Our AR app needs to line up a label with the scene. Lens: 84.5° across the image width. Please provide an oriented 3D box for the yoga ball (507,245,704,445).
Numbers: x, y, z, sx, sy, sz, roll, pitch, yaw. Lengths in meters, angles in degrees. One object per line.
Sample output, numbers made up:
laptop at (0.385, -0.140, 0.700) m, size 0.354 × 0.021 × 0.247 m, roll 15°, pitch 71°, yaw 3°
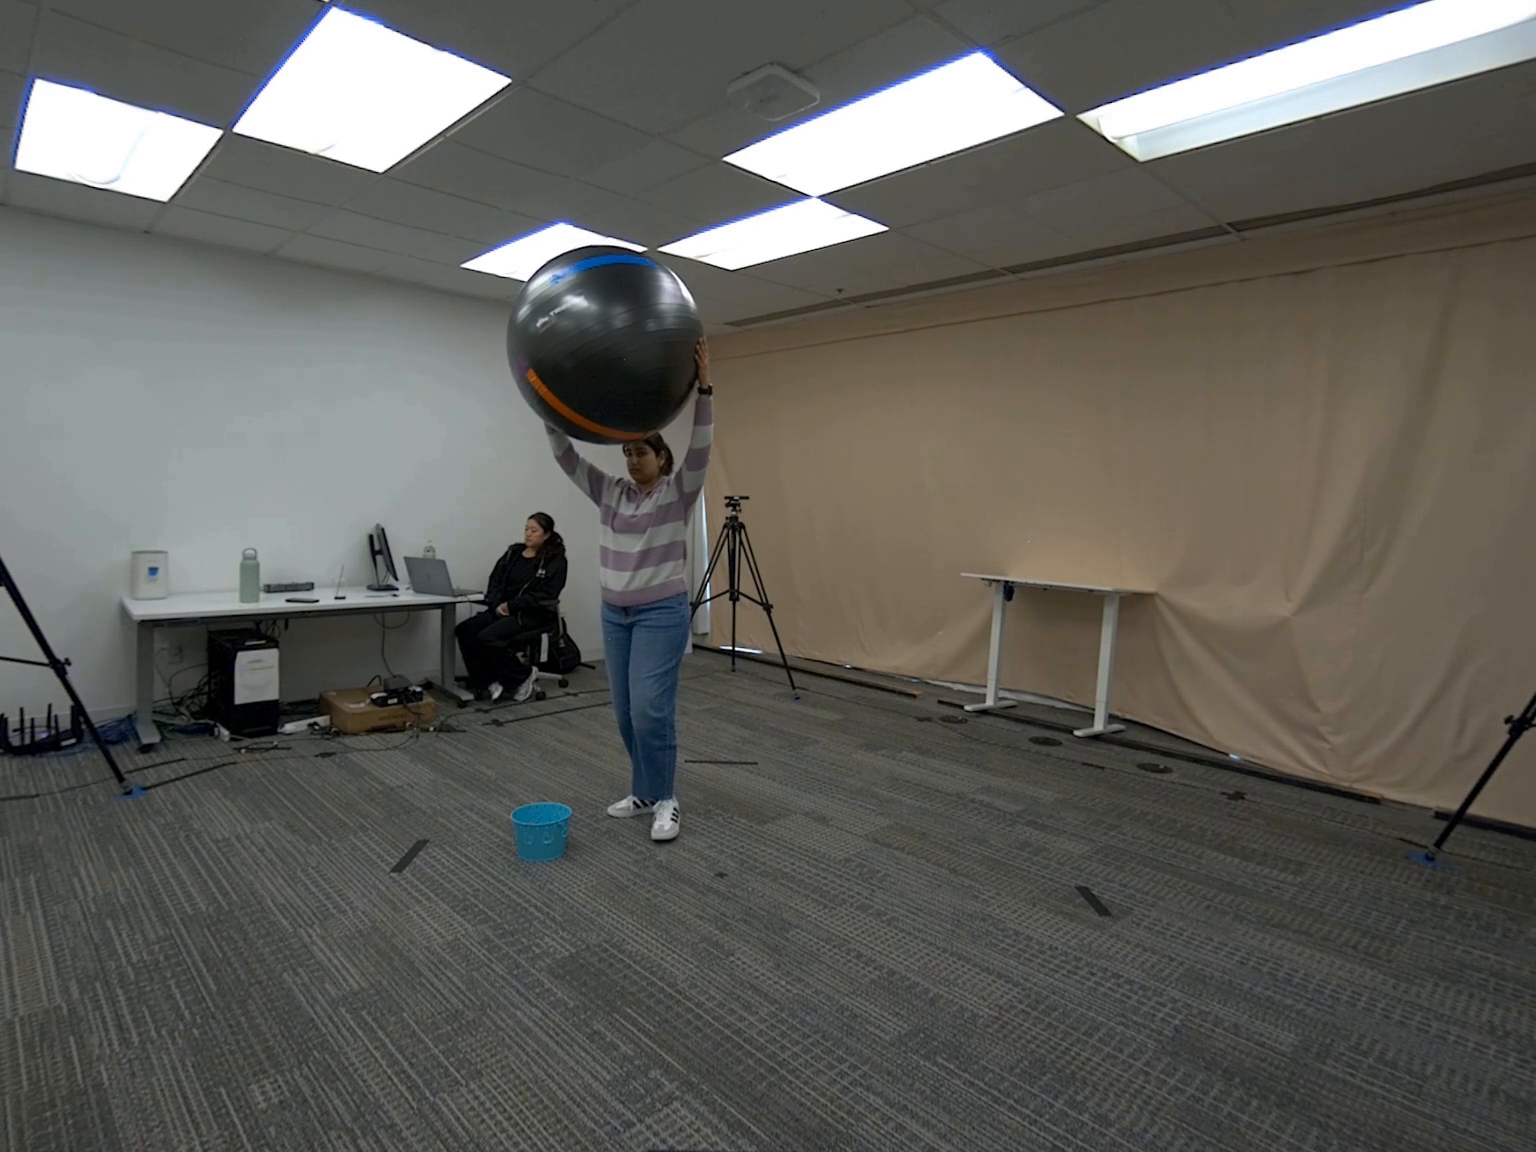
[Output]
yoga ball at (-0.630, -0.894, 3.274) m, size 0.757 × 0.756 × 0.761 m, roll 1°, pitch 4°, yaw -1°
